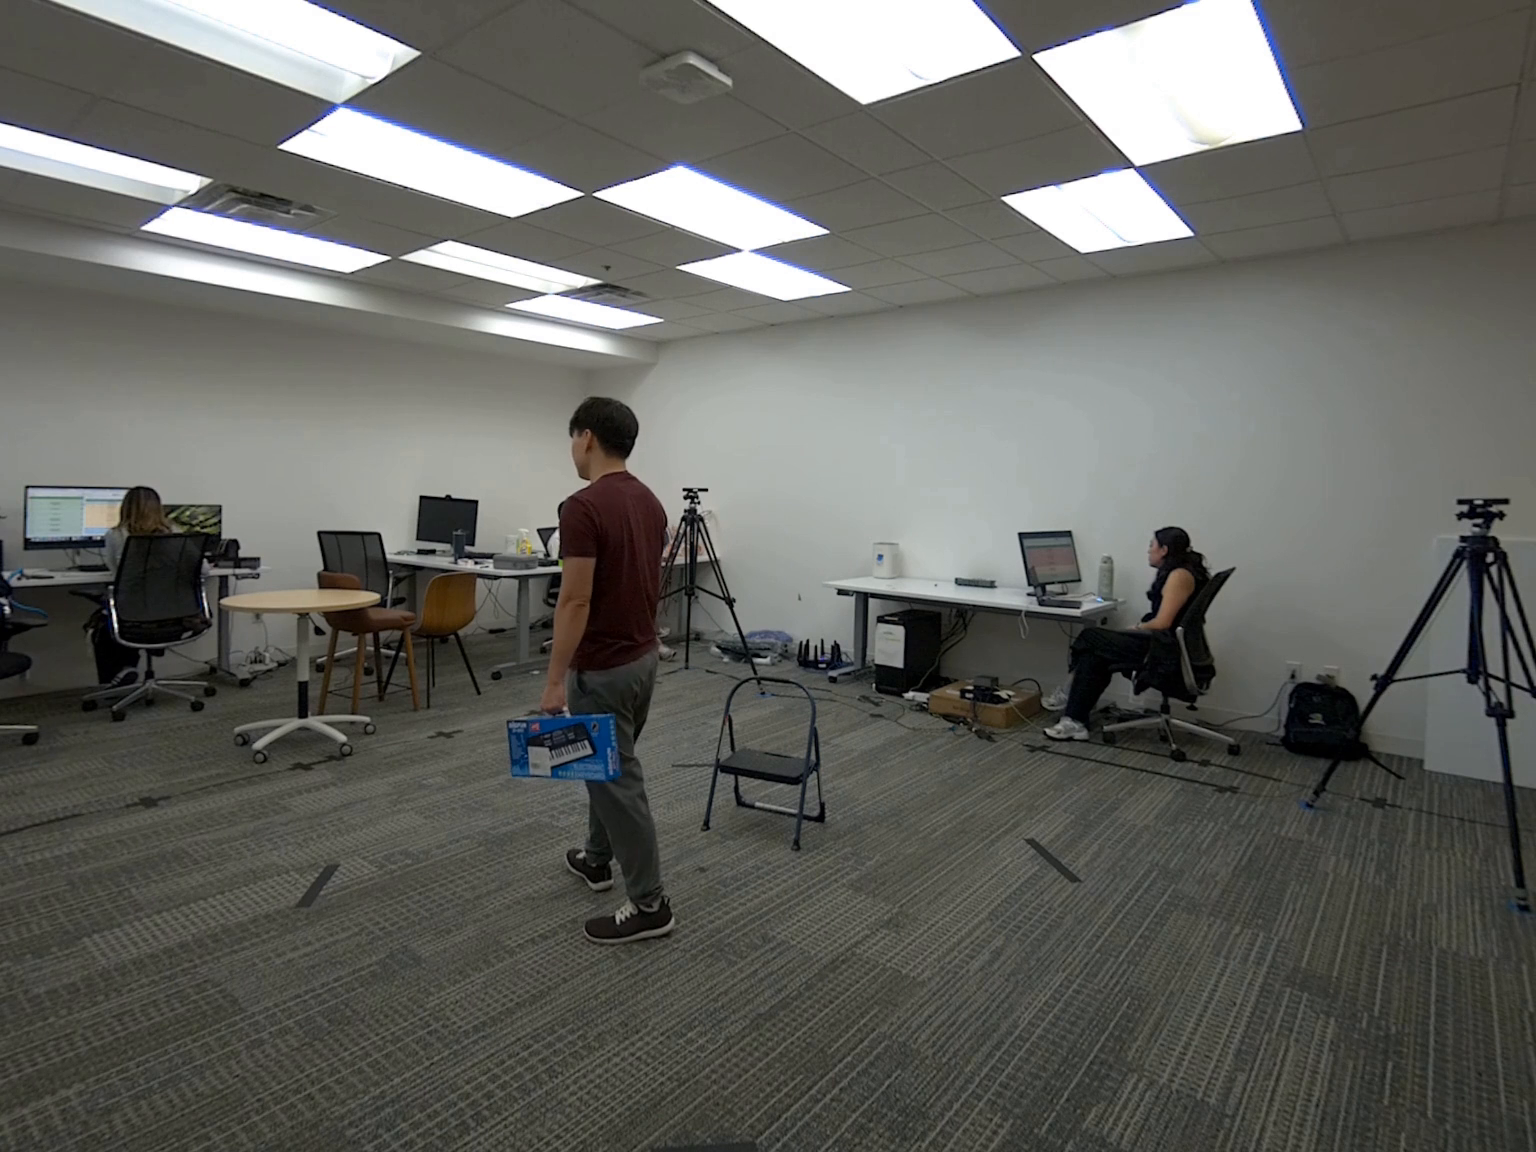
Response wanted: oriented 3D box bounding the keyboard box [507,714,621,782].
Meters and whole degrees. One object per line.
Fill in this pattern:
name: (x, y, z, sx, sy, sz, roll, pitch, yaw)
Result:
keyboard box: (-0.621, 0.492, 2.503, 0.448, 0.177, 0.057, -8, -6, 44)
